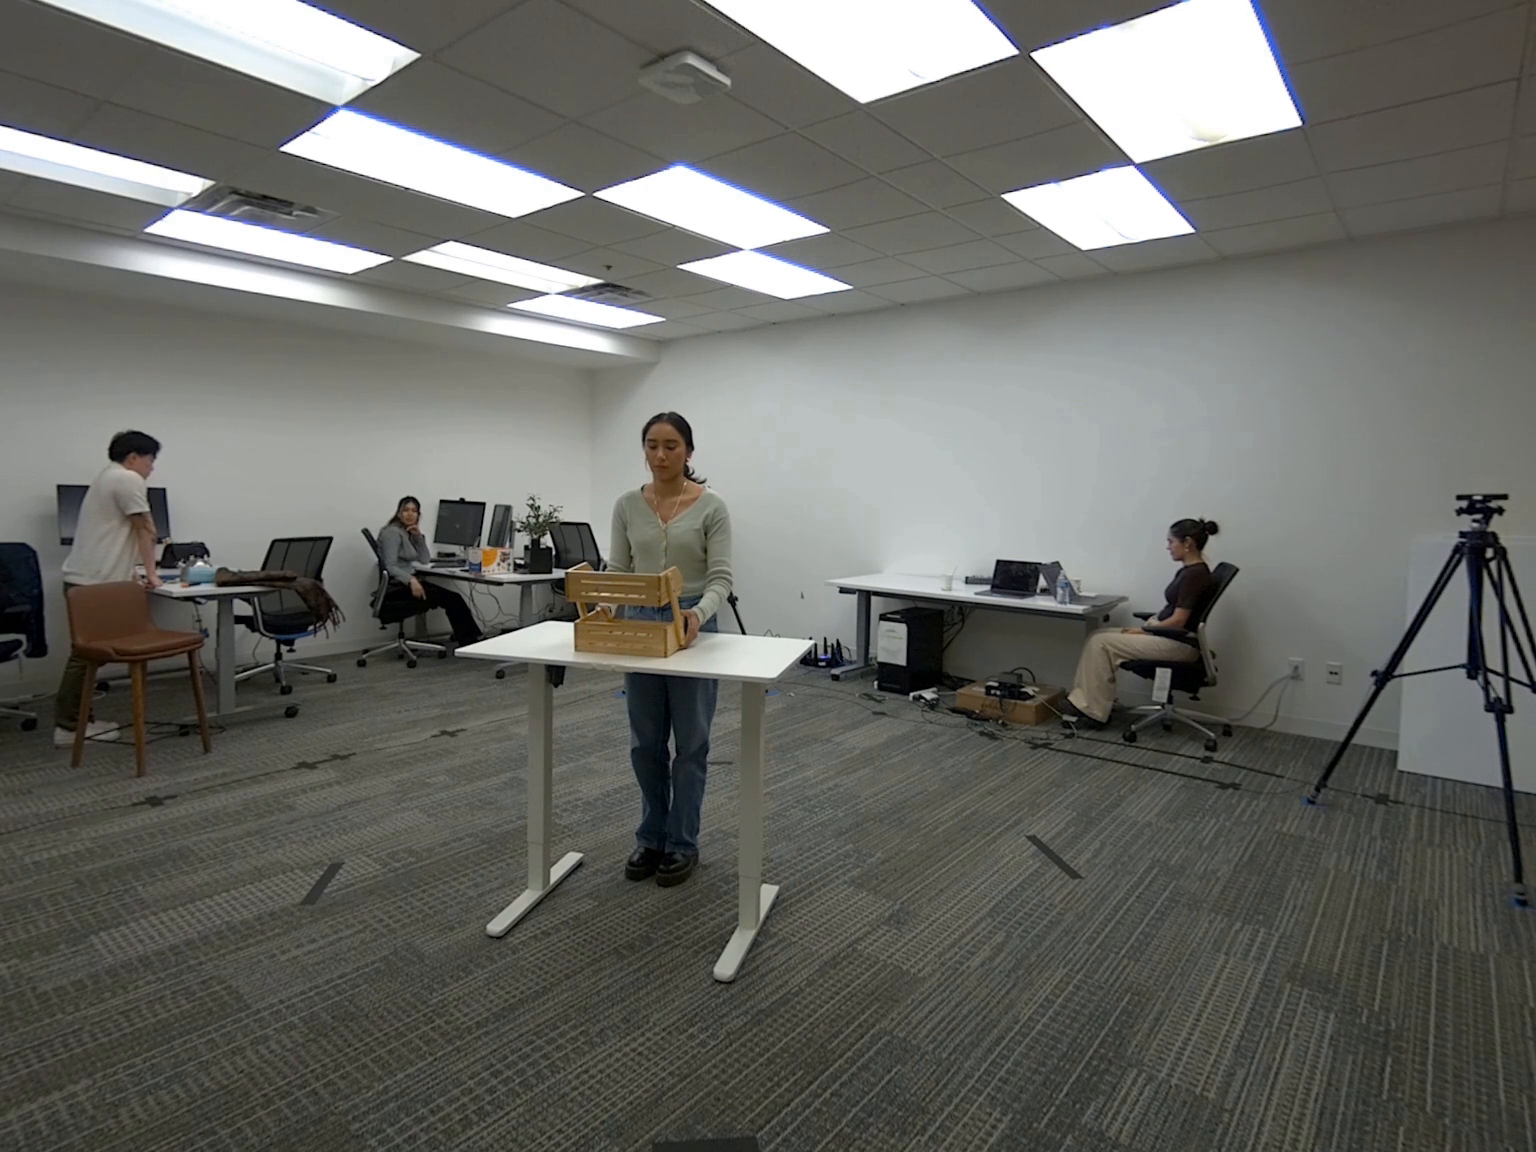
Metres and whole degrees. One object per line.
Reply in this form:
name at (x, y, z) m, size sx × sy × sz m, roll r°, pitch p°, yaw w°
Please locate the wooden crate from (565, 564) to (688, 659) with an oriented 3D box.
wooden crate at (-0.442, 0.085, 2.645) m, size 0.329 × 0.271 × 0.300 m, roll 2°, pitch 10°, yaw 13°
